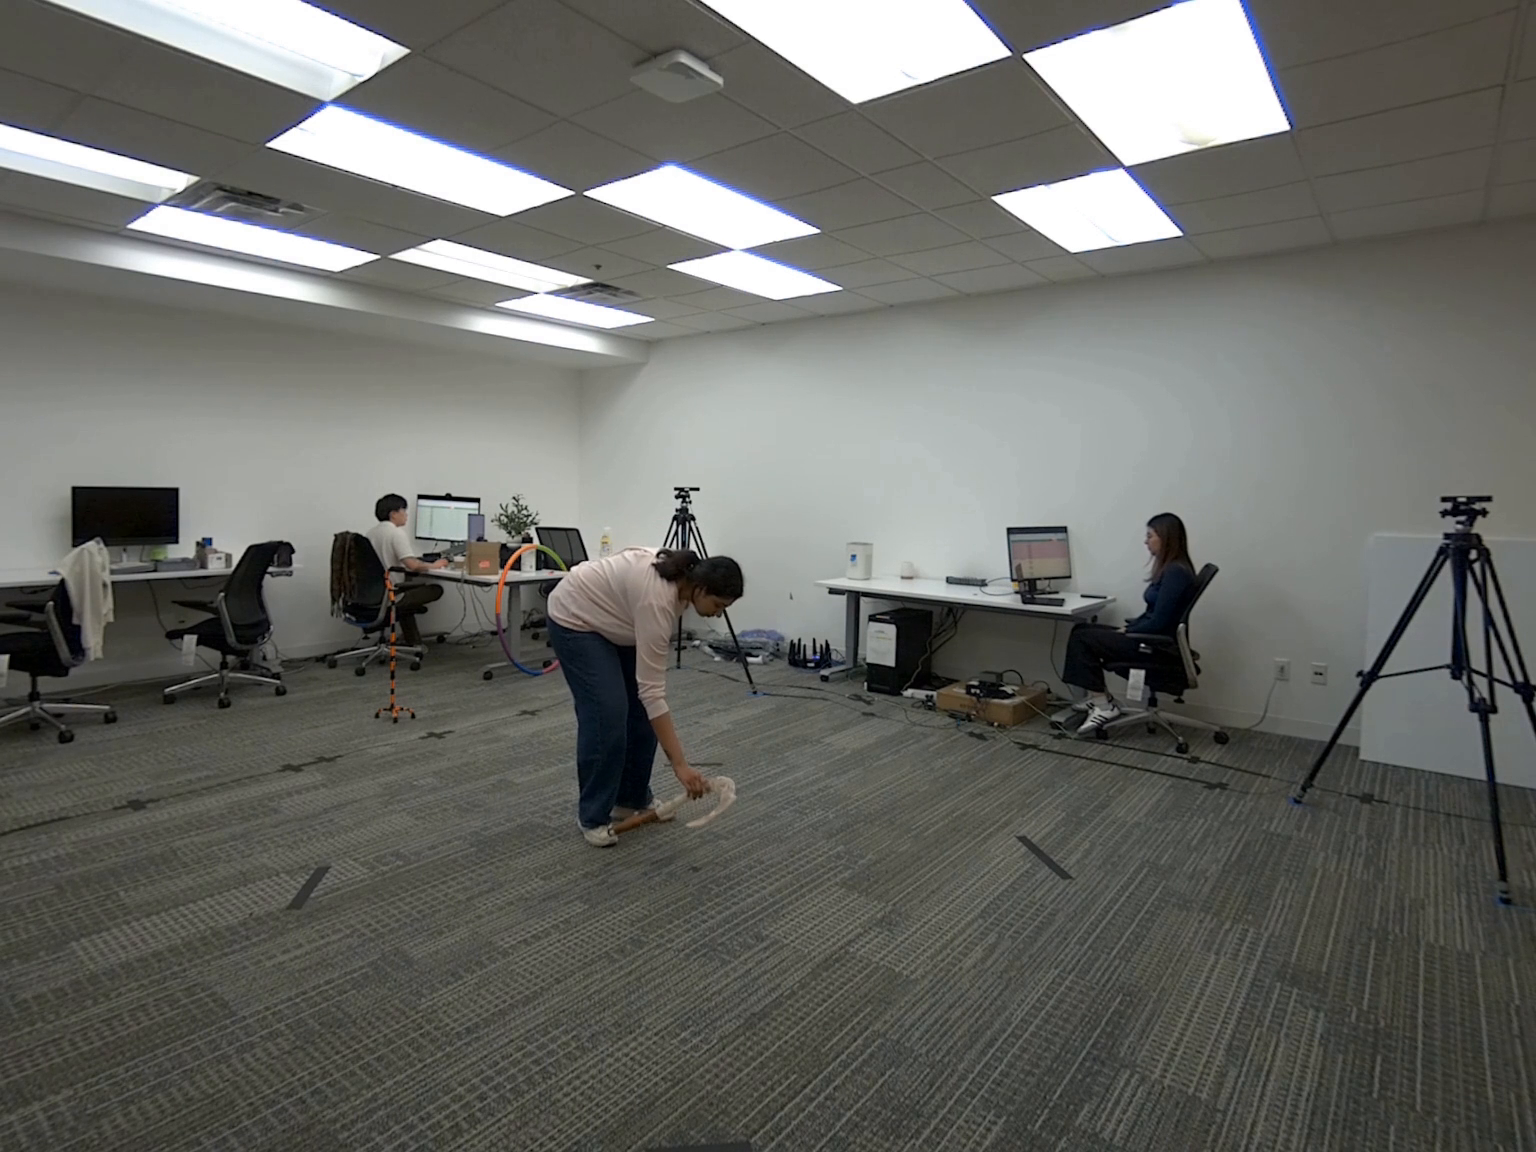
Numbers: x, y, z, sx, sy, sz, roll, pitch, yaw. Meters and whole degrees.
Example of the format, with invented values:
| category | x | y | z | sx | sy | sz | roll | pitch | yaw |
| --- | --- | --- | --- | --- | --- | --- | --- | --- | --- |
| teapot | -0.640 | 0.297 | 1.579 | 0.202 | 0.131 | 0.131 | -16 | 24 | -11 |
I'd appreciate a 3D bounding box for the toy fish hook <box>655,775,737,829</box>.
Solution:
| category | x | y | z | sx | sy | sz | roll | pitch | yaw |
| --- | --- | --- | --- | --- | --- | --- | --- | --- | --- |
| toy fish hook | -0.365 | 0.864 | 3.047 | 0.508 | 0.047 | 0.229 | -25 | 20 | 5 |
